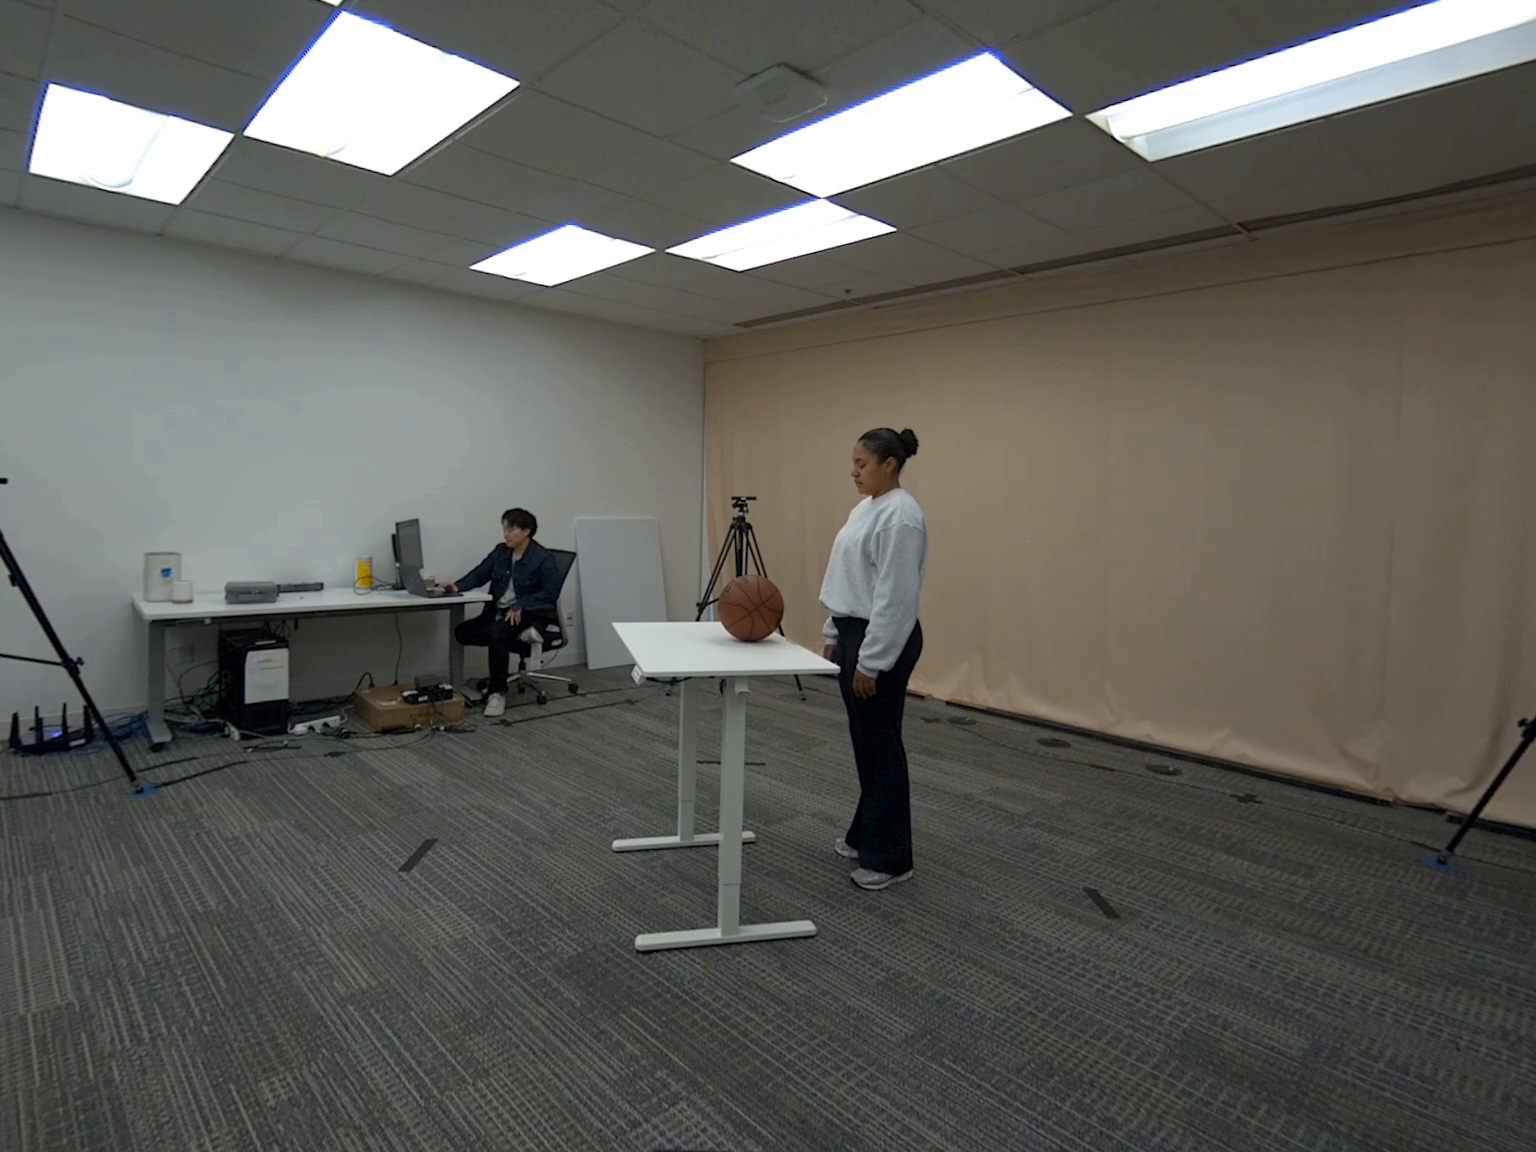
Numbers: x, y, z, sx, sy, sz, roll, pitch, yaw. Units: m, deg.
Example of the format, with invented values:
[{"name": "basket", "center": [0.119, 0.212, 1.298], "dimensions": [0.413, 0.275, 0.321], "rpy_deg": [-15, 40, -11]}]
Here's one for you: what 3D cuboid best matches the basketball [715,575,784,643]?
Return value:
[{"name": "basketball", "center": [-0.060, 0.114, 3.024], "dimensions": [0.236, 0.235, 0.237], "rpy_deg": [1, 4, -1]}]
